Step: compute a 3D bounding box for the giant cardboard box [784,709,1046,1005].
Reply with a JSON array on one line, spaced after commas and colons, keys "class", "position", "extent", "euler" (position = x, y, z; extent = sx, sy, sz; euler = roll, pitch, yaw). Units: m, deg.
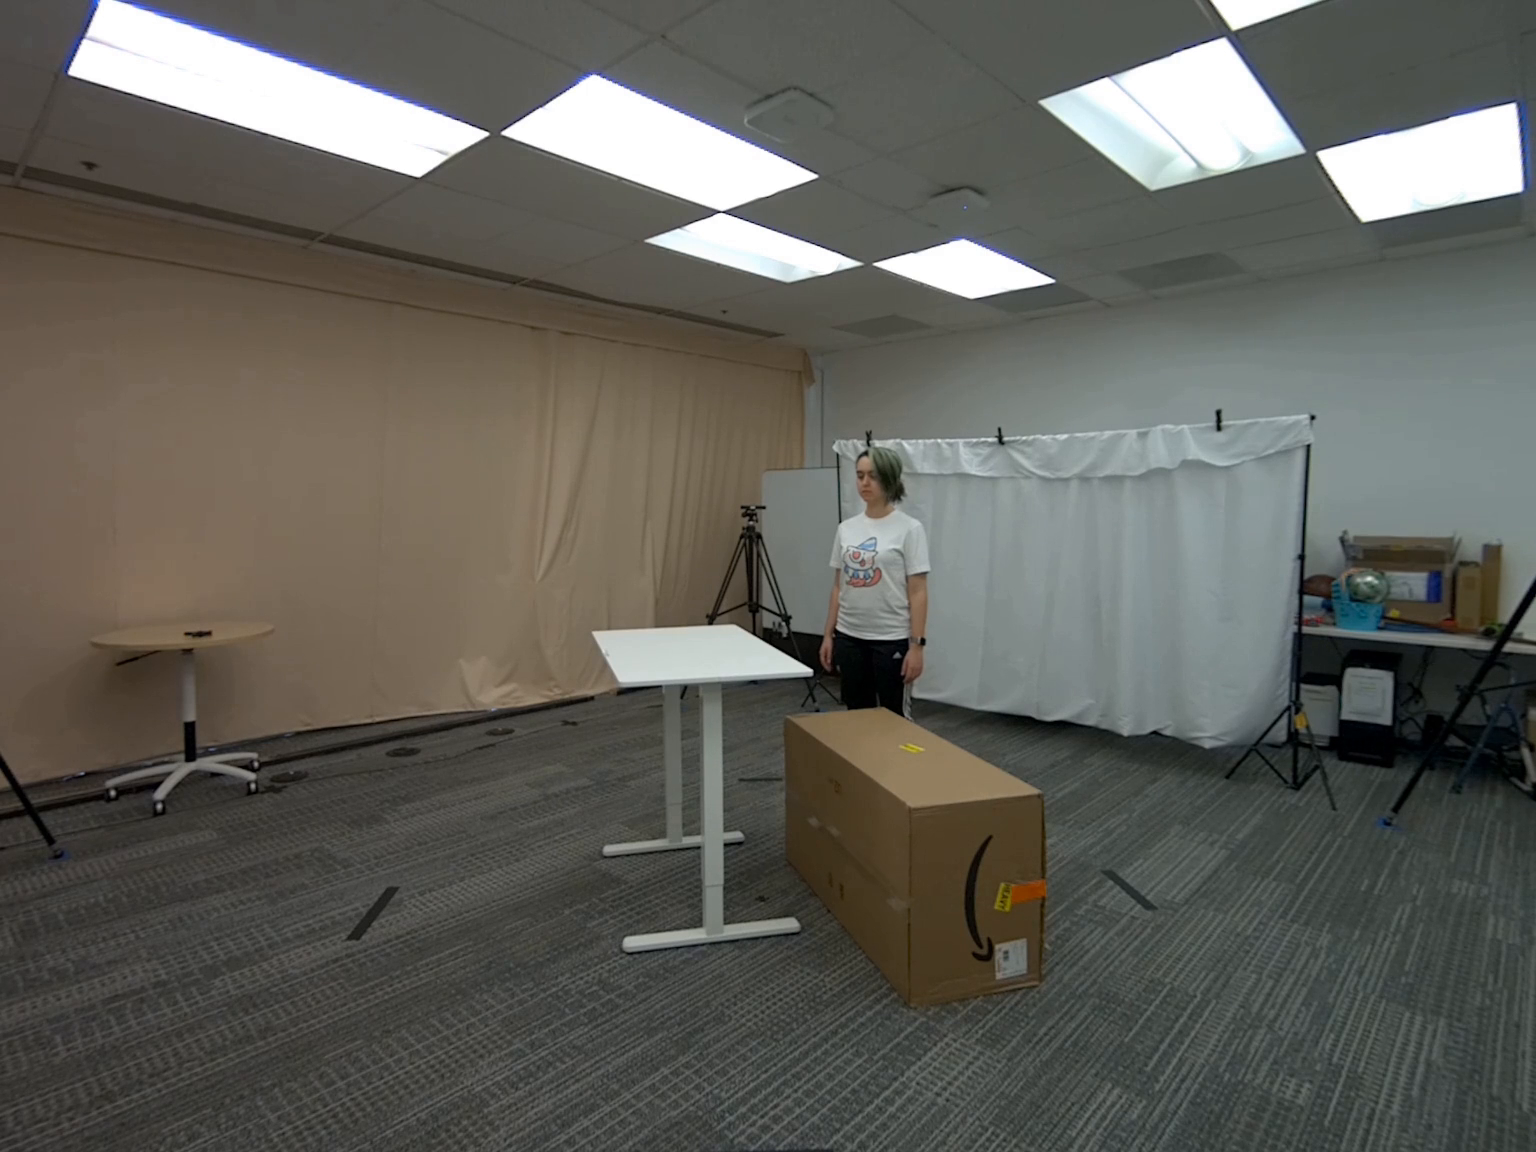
[{"class": "giant cardboard box", "position": [0.433, 0.863, 2.855], "extent": [0.439, 0.582, 1.048], "euler": [-1, 5, -18]}]
